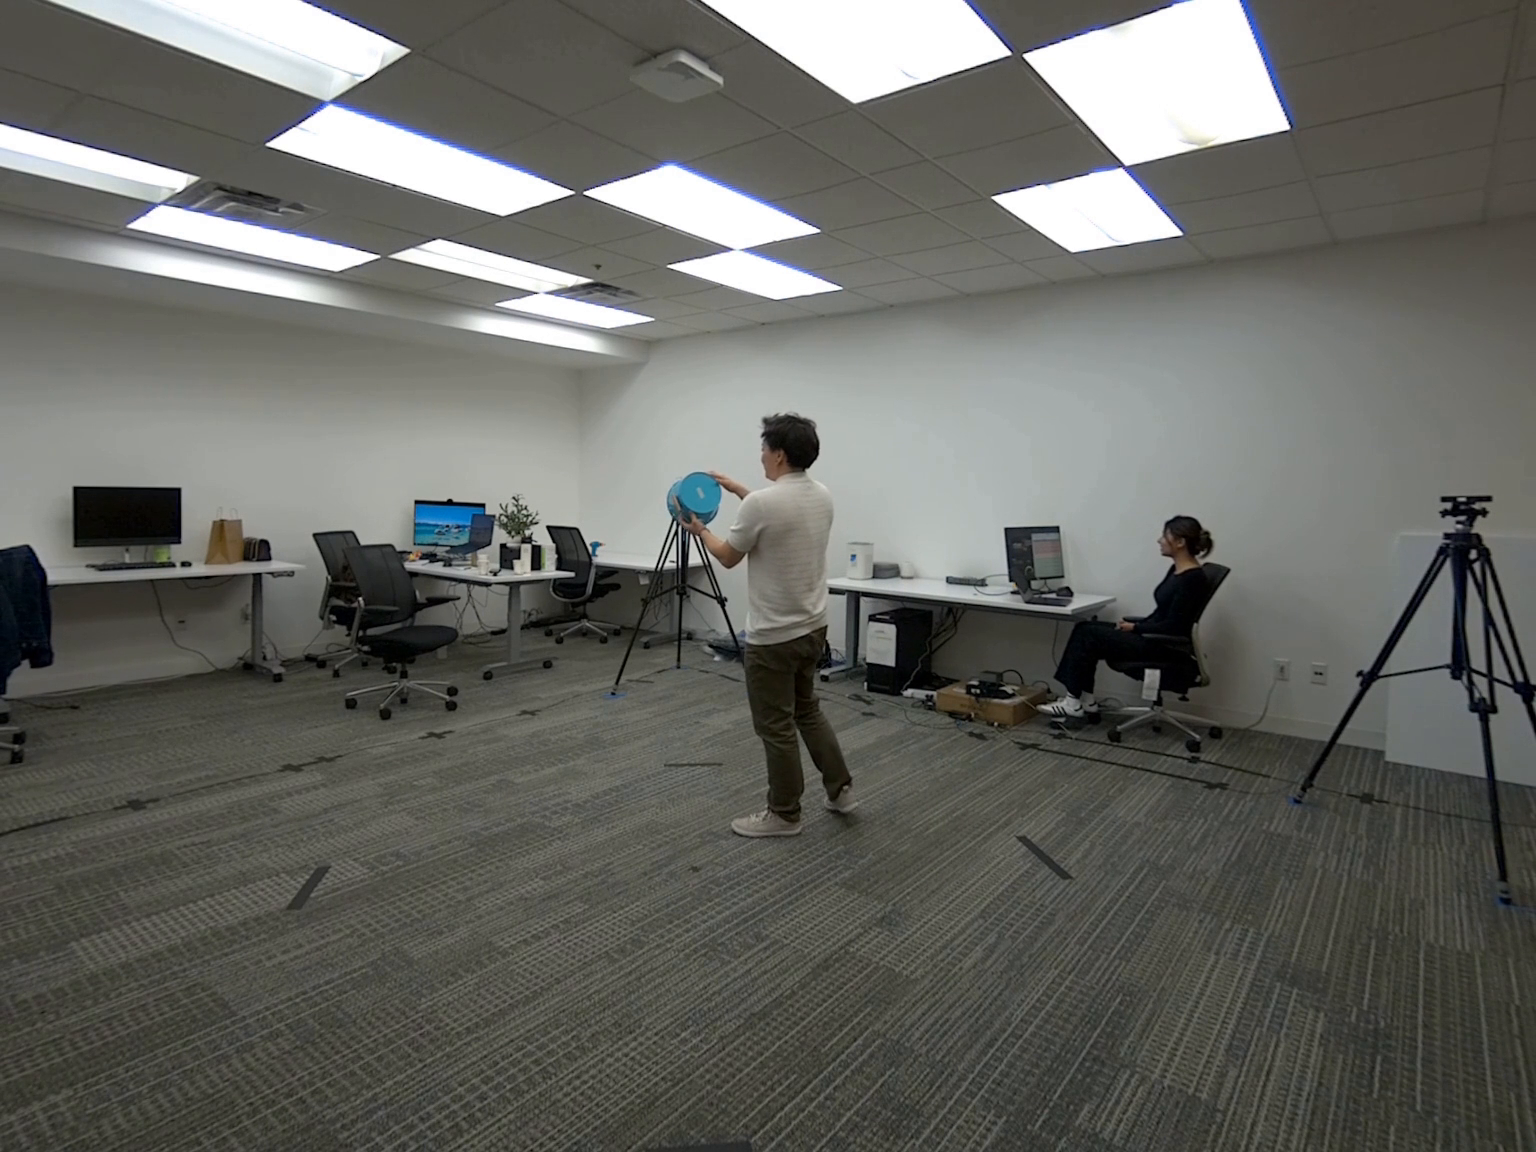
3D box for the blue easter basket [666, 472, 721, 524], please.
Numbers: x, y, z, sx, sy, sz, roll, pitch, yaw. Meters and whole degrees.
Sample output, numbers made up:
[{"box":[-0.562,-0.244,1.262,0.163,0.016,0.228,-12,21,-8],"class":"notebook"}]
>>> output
[{"box":[-0.317,-0.338,3.674,0.239,0.246,0.157,-1,-10,-17],"class":"blue easter basket"}]
